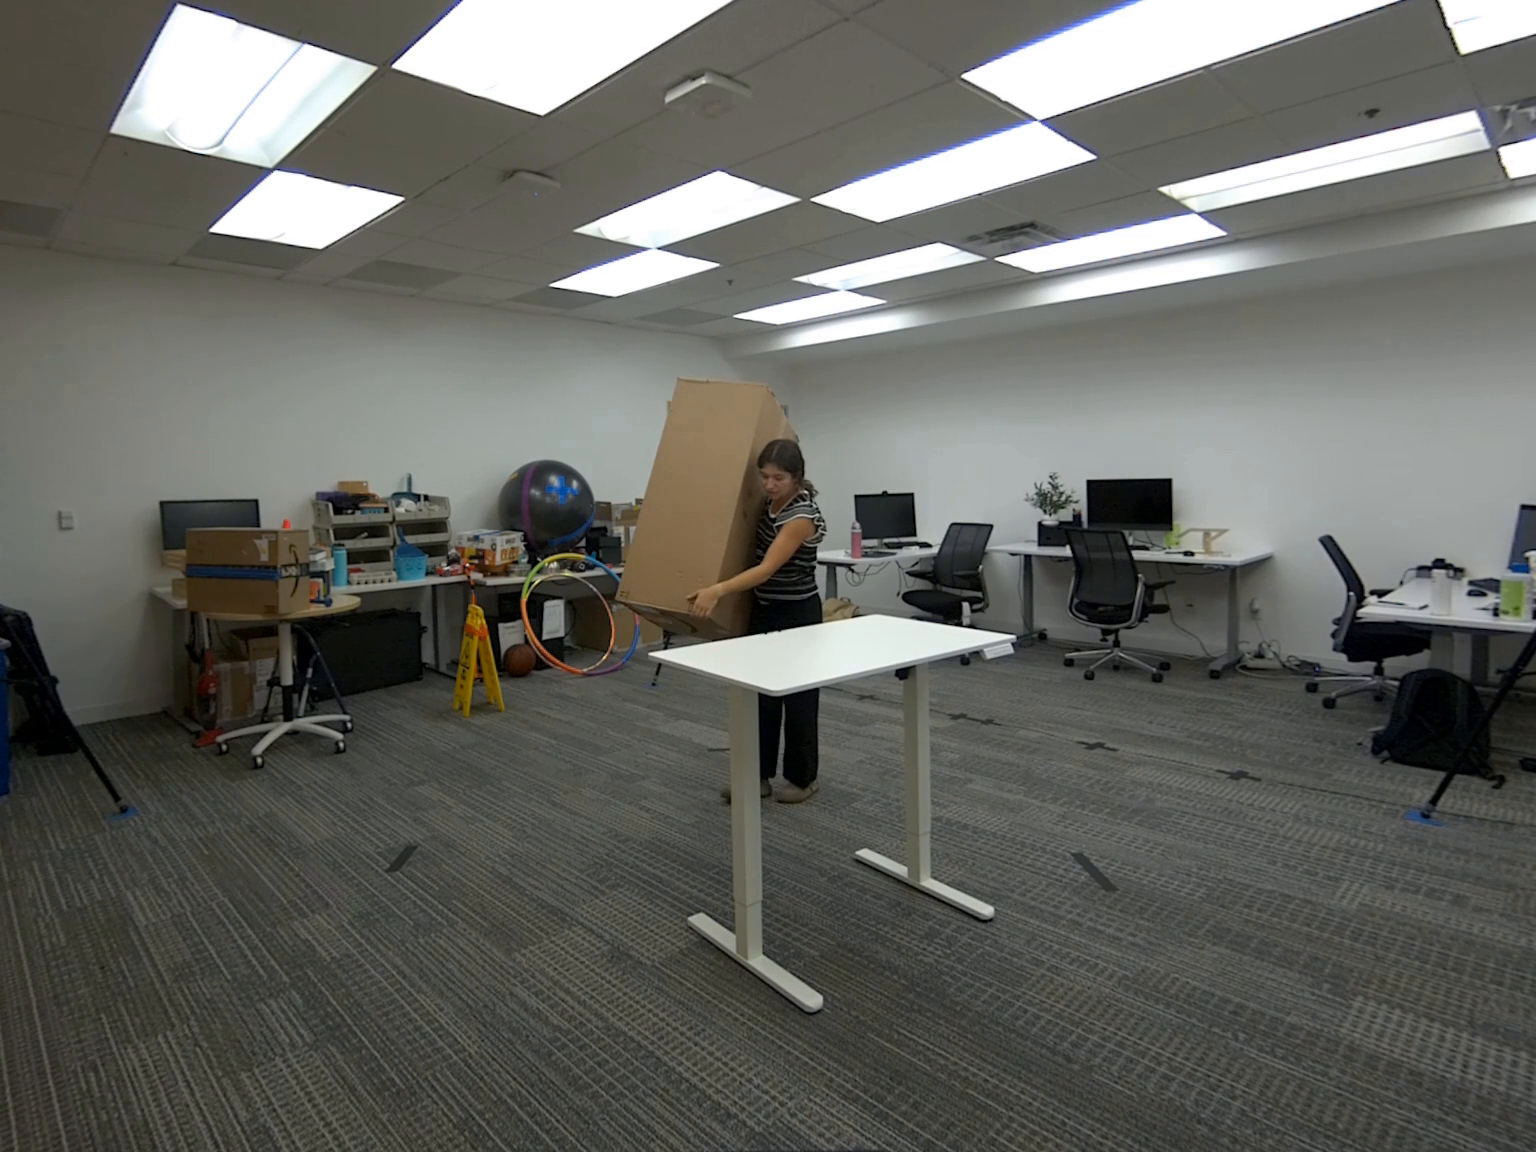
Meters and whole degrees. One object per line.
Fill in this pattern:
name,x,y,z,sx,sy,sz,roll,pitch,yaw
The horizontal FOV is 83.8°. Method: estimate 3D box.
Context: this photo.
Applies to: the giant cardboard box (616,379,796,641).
giant cardboard box,-0.248,-0.271,3.790,0.436,1.035,0.559,8,-15,21
